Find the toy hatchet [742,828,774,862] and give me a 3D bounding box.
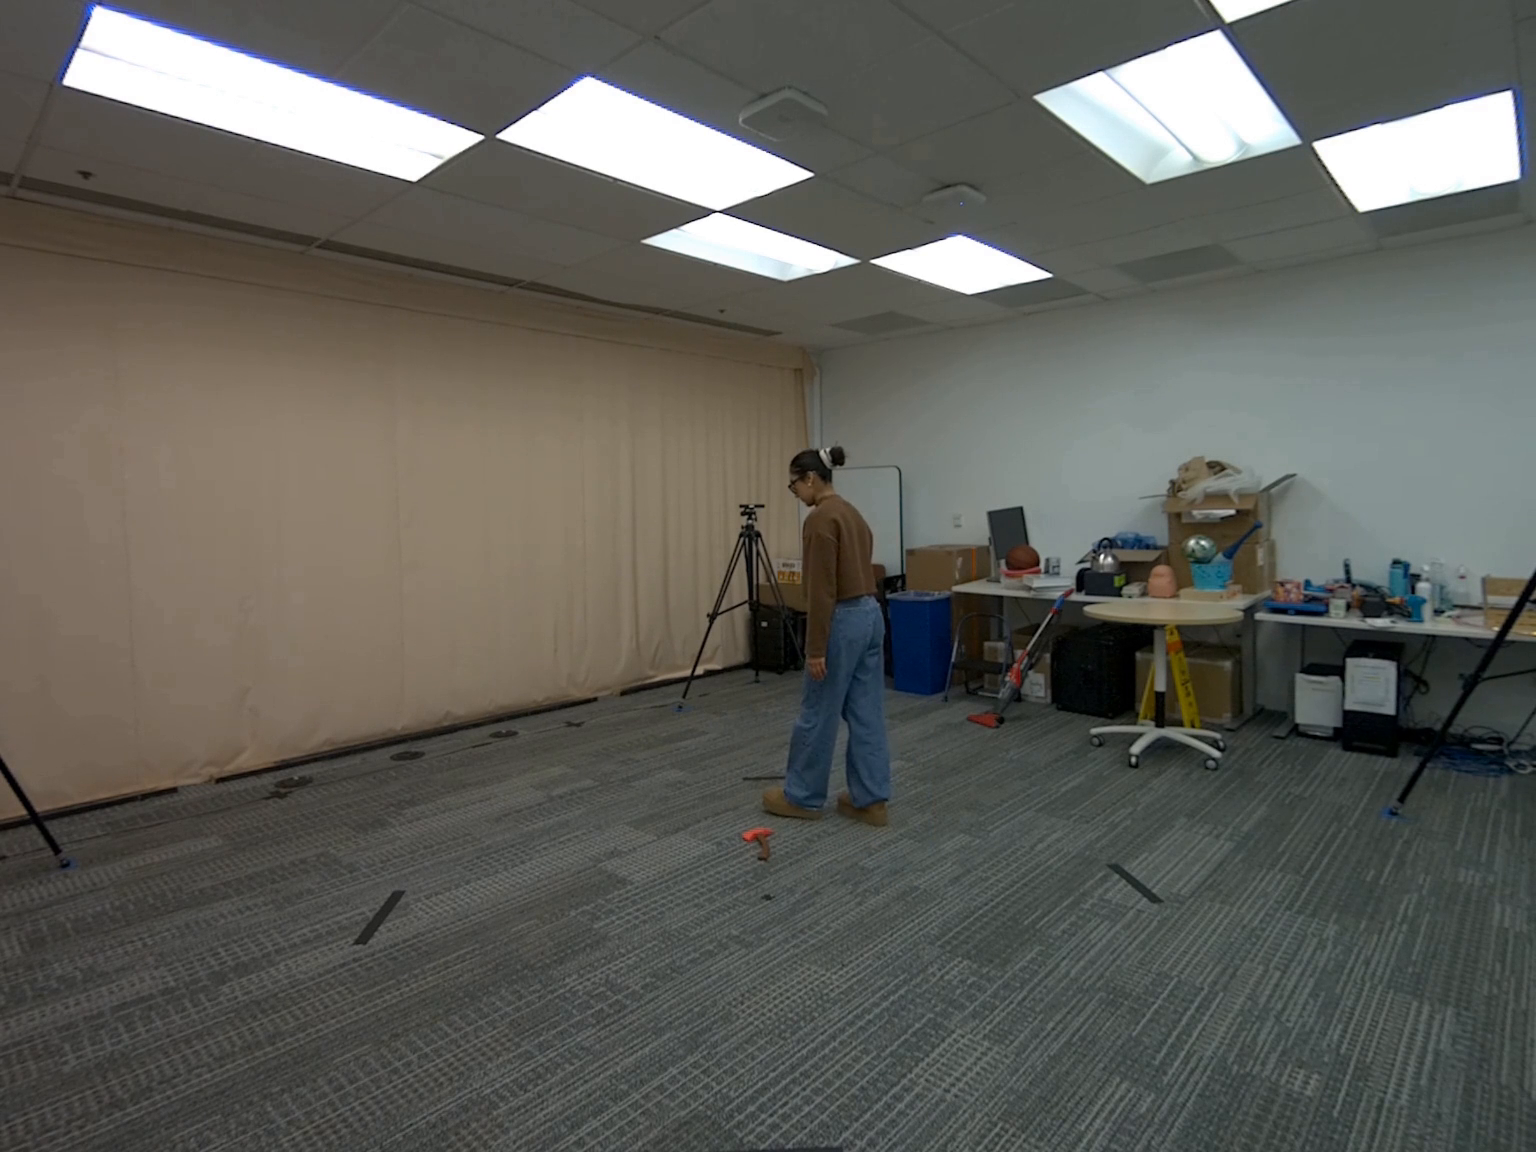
[{"bbox_3d":[-0.051,1.091,3.423,0.132,0.029,0.269,-1,7,6],"label":"toy hatchet"}]
